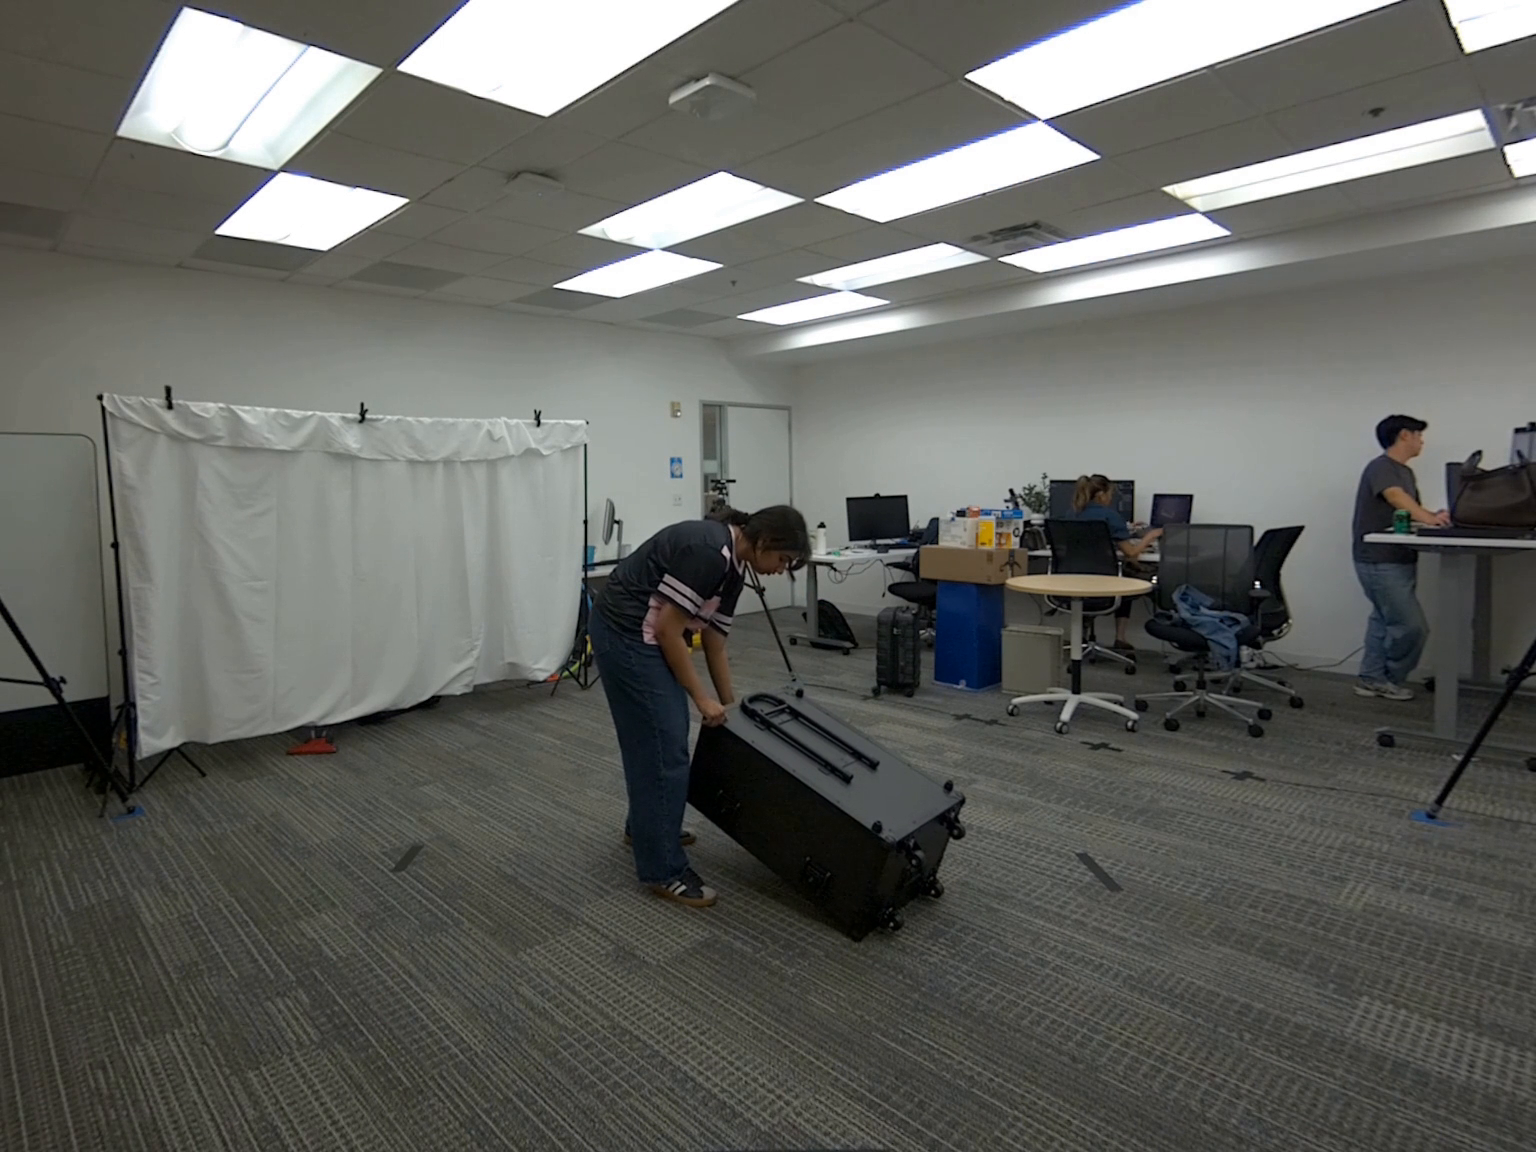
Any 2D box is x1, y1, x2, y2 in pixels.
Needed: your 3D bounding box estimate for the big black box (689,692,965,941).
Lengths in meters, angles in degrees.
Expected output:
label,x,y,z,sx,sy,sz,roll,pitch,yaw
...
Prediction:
label,x,y,z,sx,sy,sz,roll,pitch,yaw
big black box,0.212,0.775,2.913,0.901,0.381,0.509,28,21,36
